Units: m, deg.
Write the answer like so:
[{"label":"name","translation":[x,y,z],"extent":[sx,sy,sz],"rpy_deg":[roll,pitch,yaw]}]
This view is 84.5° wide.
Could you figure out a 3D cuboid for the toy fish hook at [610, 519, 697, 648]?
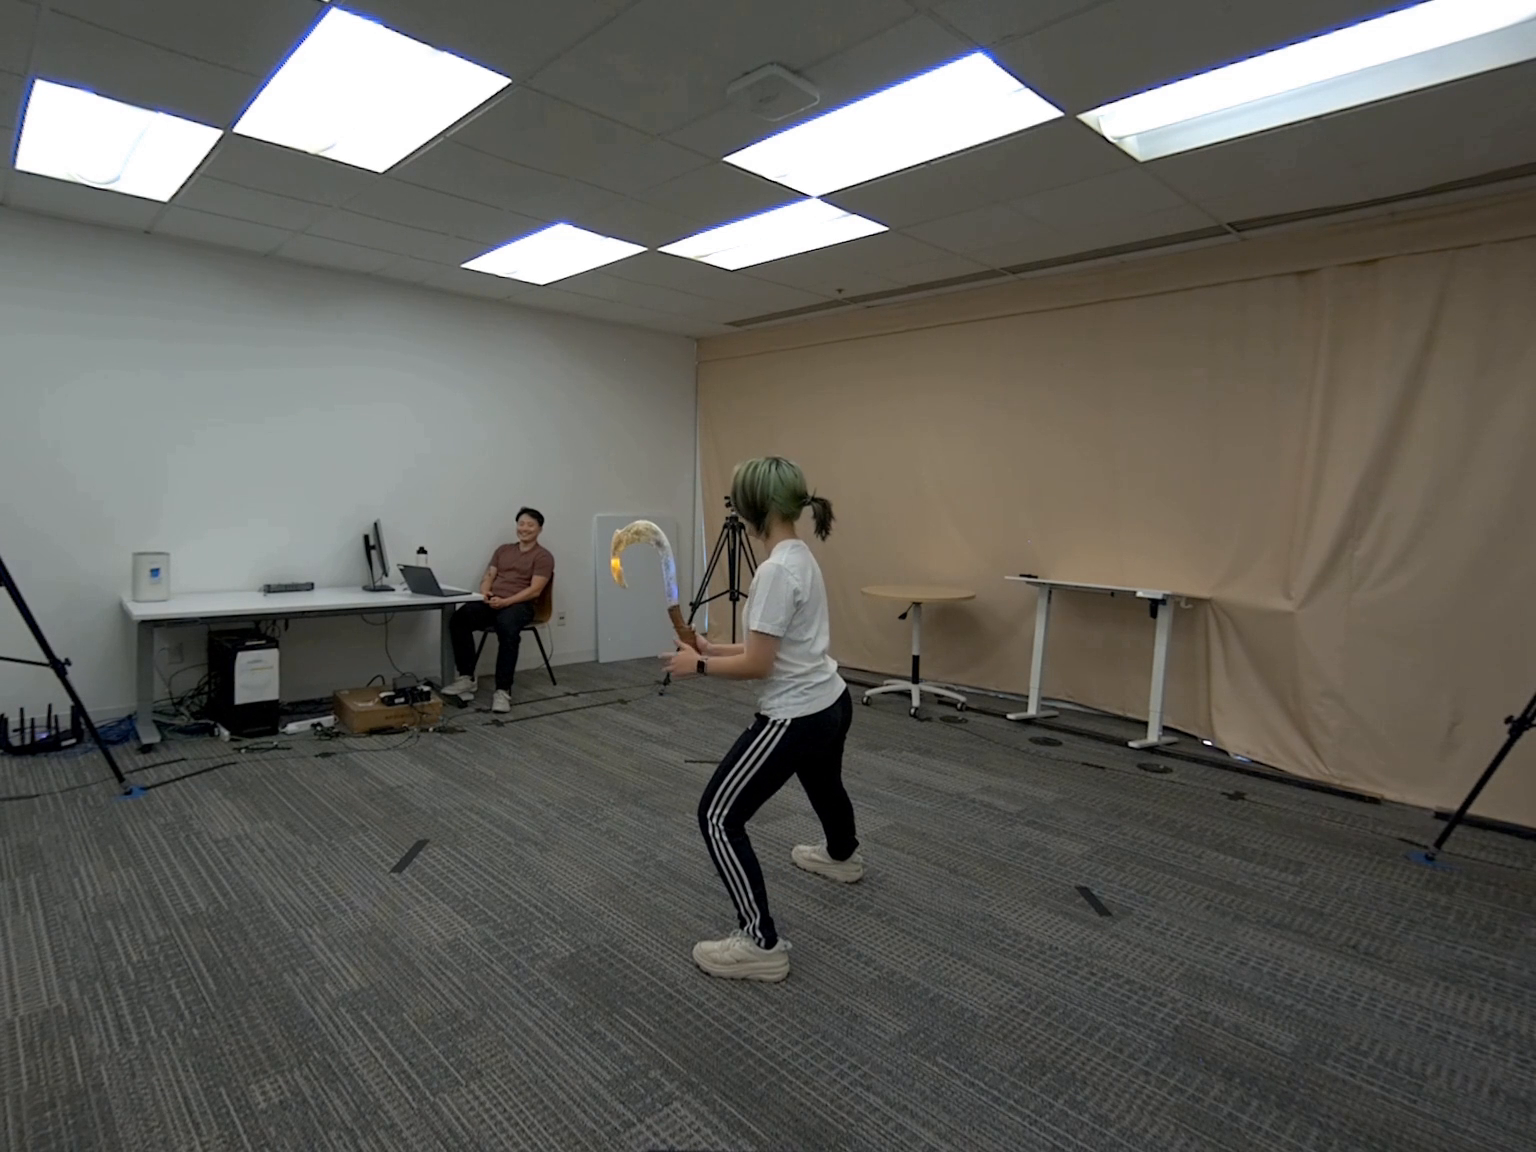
[{"label":"toy fish hook","translation":[-0.375,0.061,2.778],"extent":[0.226,0.511,0.047],"rpy_deg":[-26,-9,21]}]
